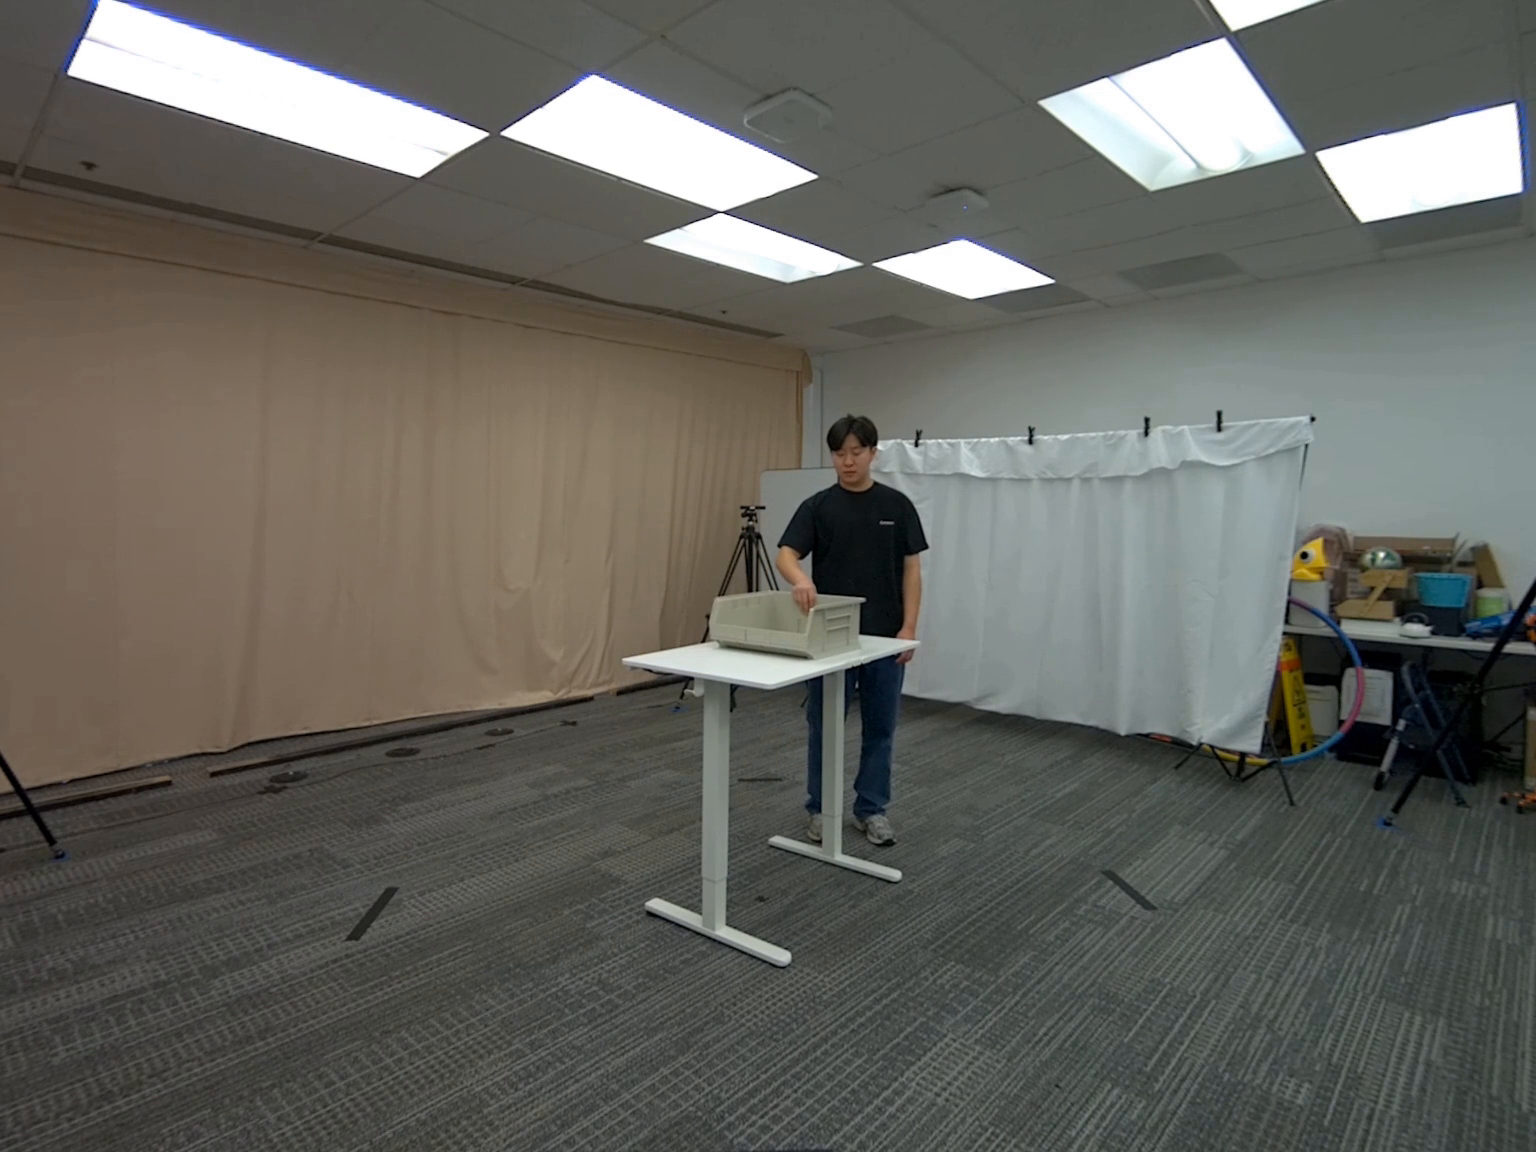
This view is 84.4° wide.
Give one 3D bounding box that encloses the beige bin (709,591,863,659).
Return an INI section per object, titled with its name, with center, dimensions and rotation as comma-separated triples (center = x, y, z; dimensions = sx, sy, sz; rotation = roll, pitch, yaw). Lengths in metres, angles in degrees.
[beige bin]
center = 0.074, 0.172, 3.007
dimensions = 0.436, 0.188, 0.366
rotation = 3, 4, 37
